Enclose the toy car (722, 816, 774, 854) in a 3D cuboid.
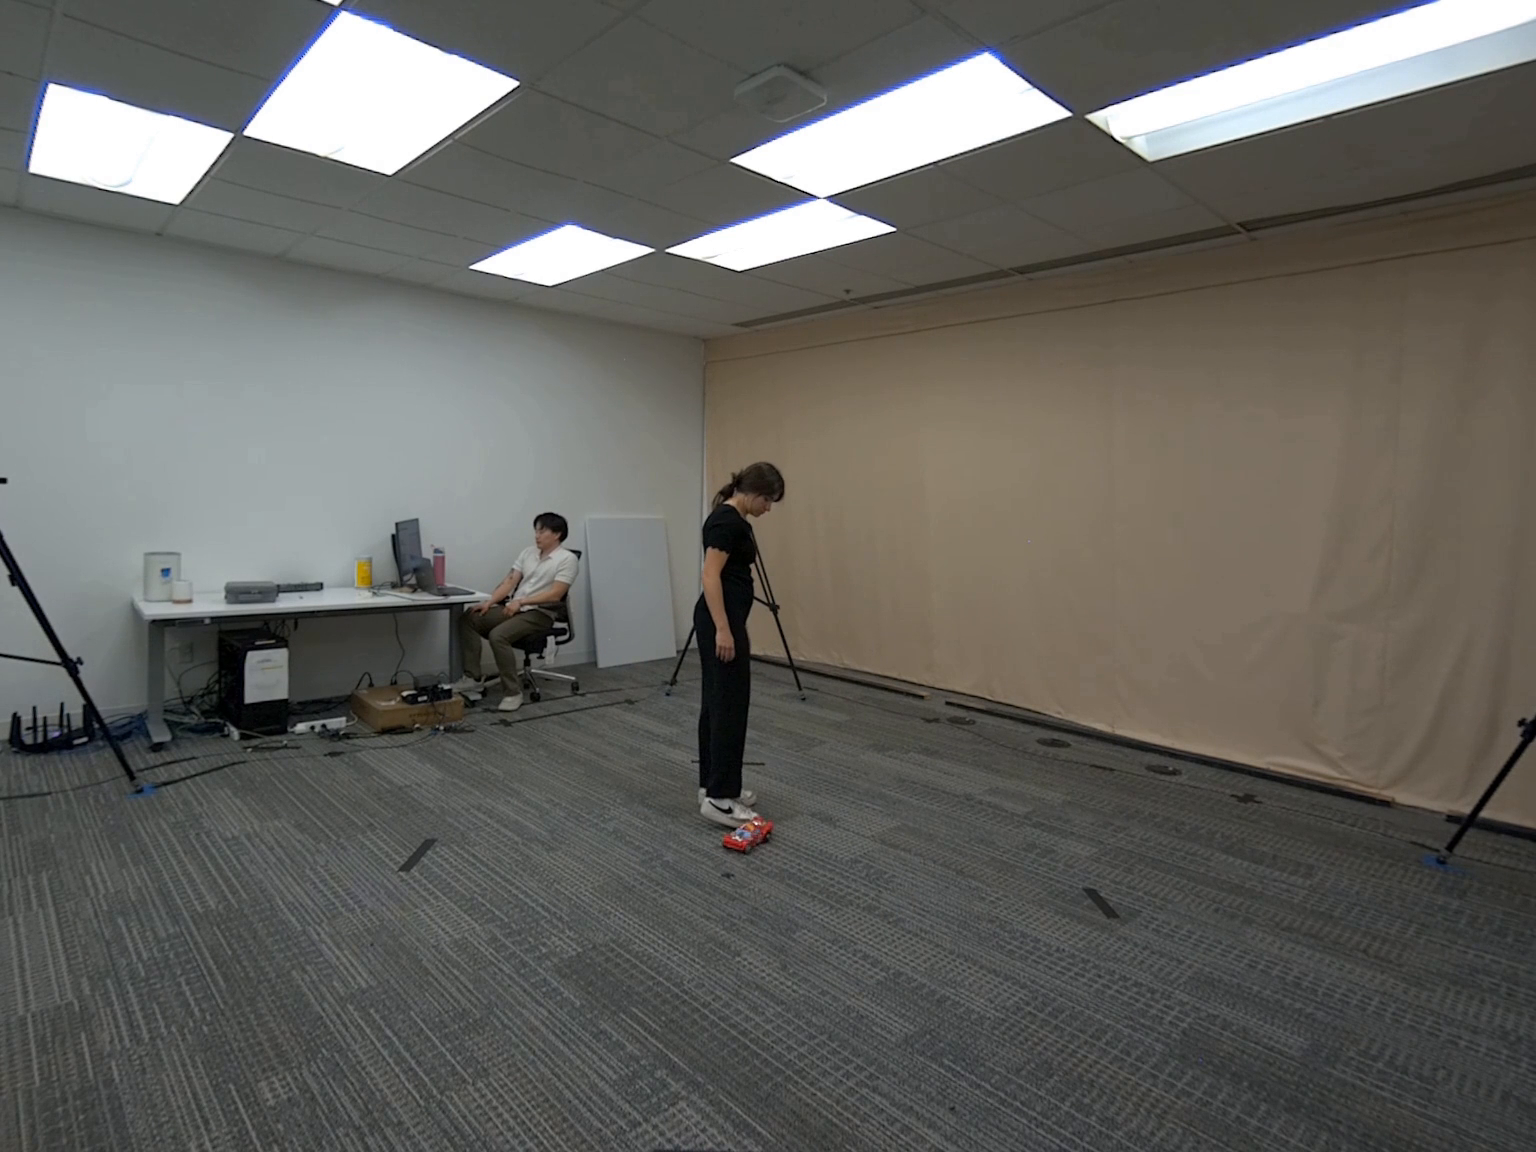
[{"bbox_3d":[-0.082,1.049,3.404,0.133,0.082,0.251,3,15,33],"label":"toy car"}]
